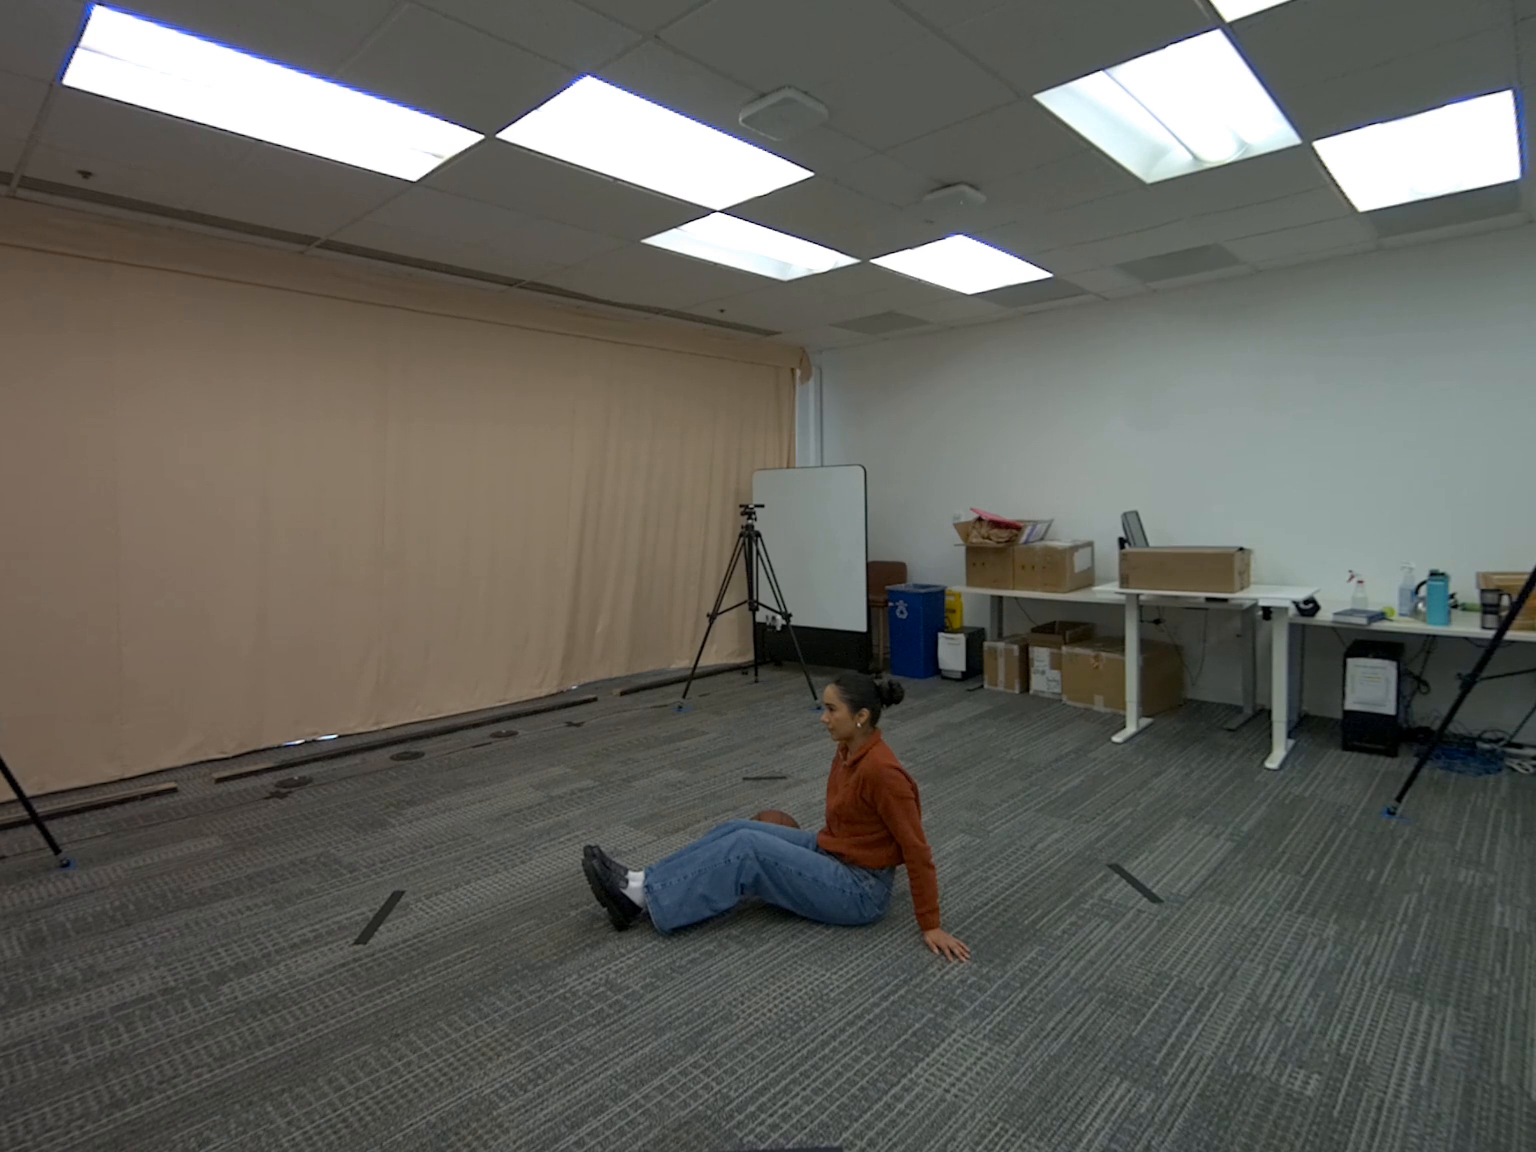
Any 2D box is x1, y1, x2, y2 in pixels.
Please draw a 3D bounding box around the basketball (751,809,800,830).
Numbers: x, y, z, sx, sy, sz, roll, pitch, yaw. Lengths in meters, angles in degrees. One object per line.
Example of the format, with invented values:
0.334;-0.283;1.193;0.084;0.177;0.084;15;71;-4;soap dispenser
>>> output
0.019;1.003;3.173;0.236;0.235;0.237;-1;4;-2;basketball
